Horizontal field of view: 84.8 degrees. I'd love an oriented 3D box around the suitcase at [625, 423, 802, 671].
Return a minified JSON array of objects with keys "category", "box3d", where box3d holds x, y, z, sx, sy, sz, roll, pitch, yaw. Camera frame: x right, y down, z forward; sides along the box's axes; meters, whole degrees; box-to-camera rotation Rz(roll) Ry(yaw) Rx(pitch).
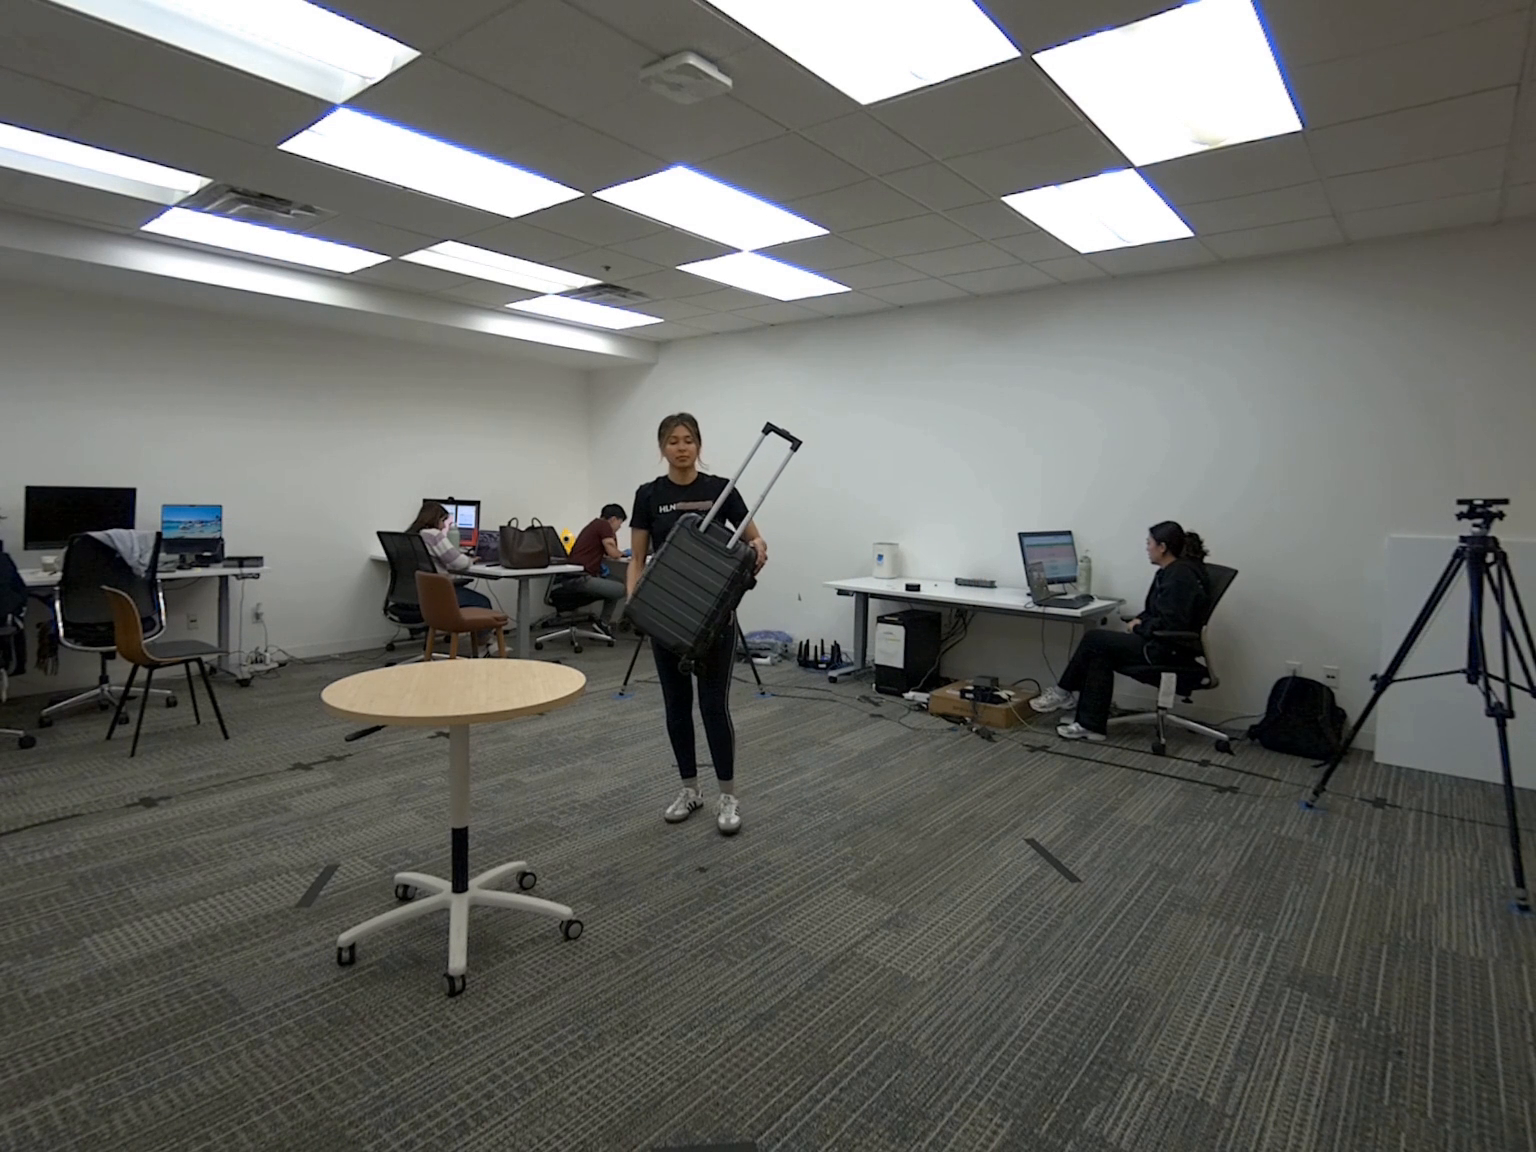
[{"category":"suitcase","box3d":[-0.195,-0.131,3.331,0.393,0.980,0.251,30,-5,16]}]
